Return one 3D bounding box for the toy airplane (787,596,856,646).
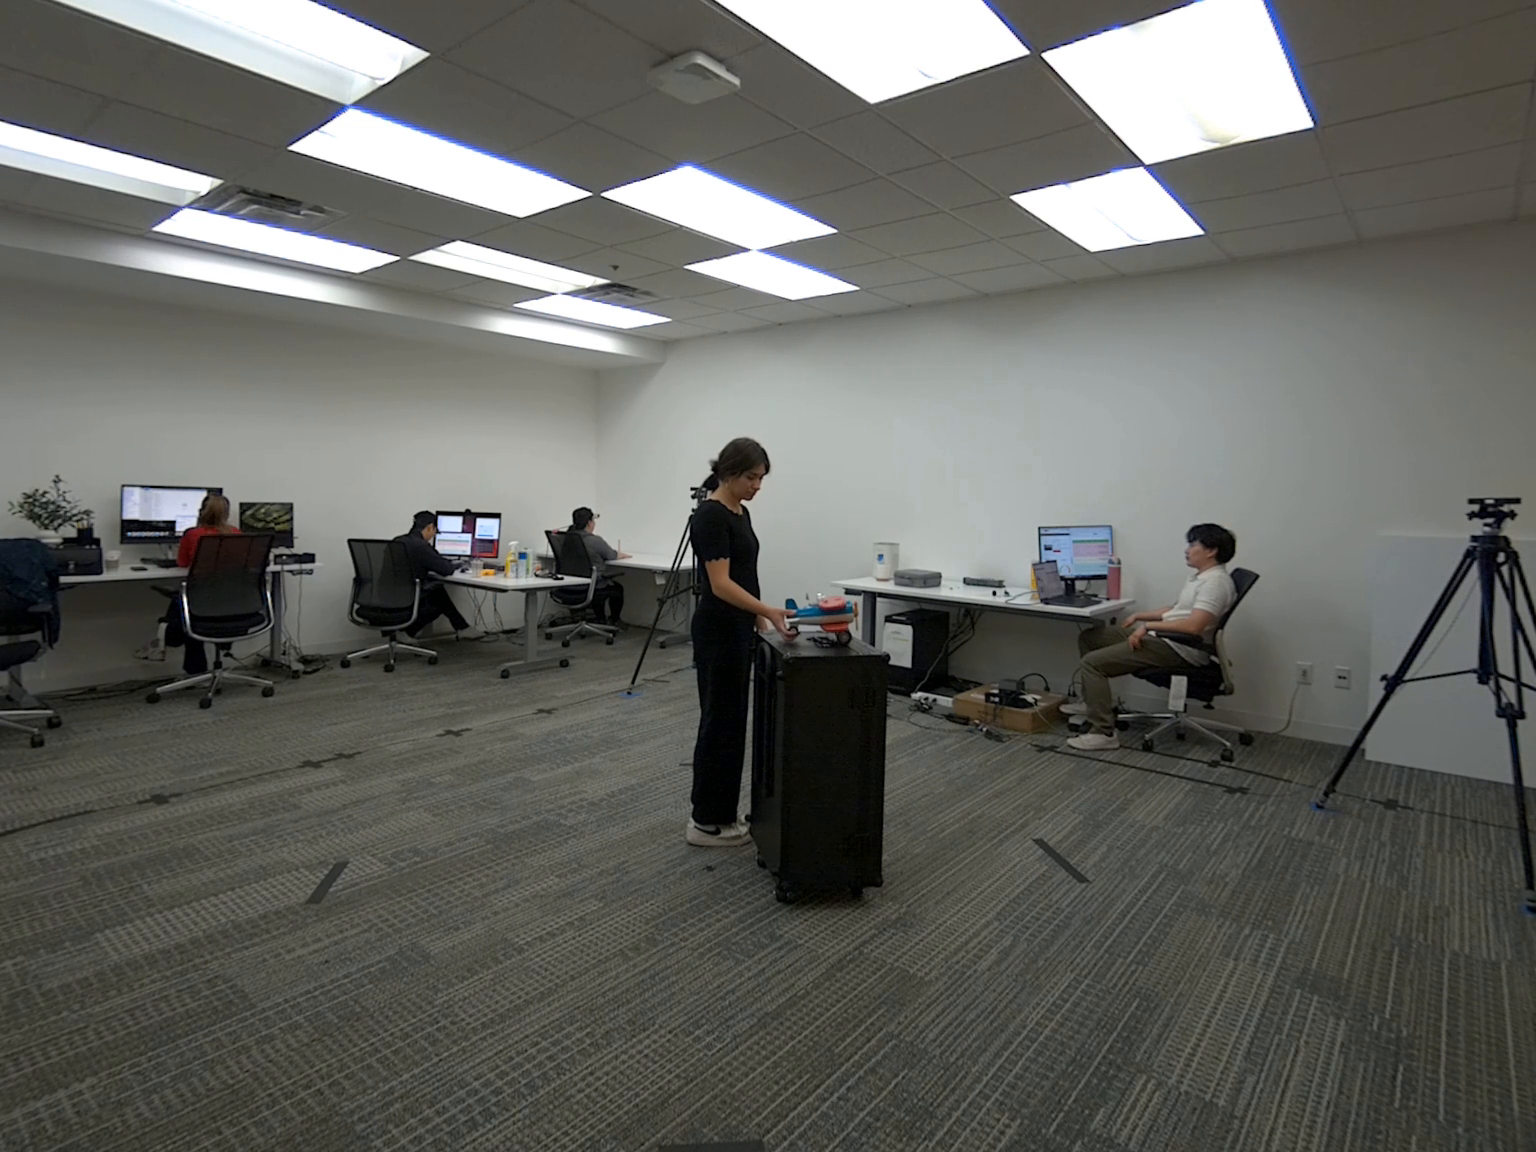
[{"bbox_3d":[0.184,0.149,3.001,0.252,0.156,0.259,6,5,-29],"label":"toy airplane"}]
